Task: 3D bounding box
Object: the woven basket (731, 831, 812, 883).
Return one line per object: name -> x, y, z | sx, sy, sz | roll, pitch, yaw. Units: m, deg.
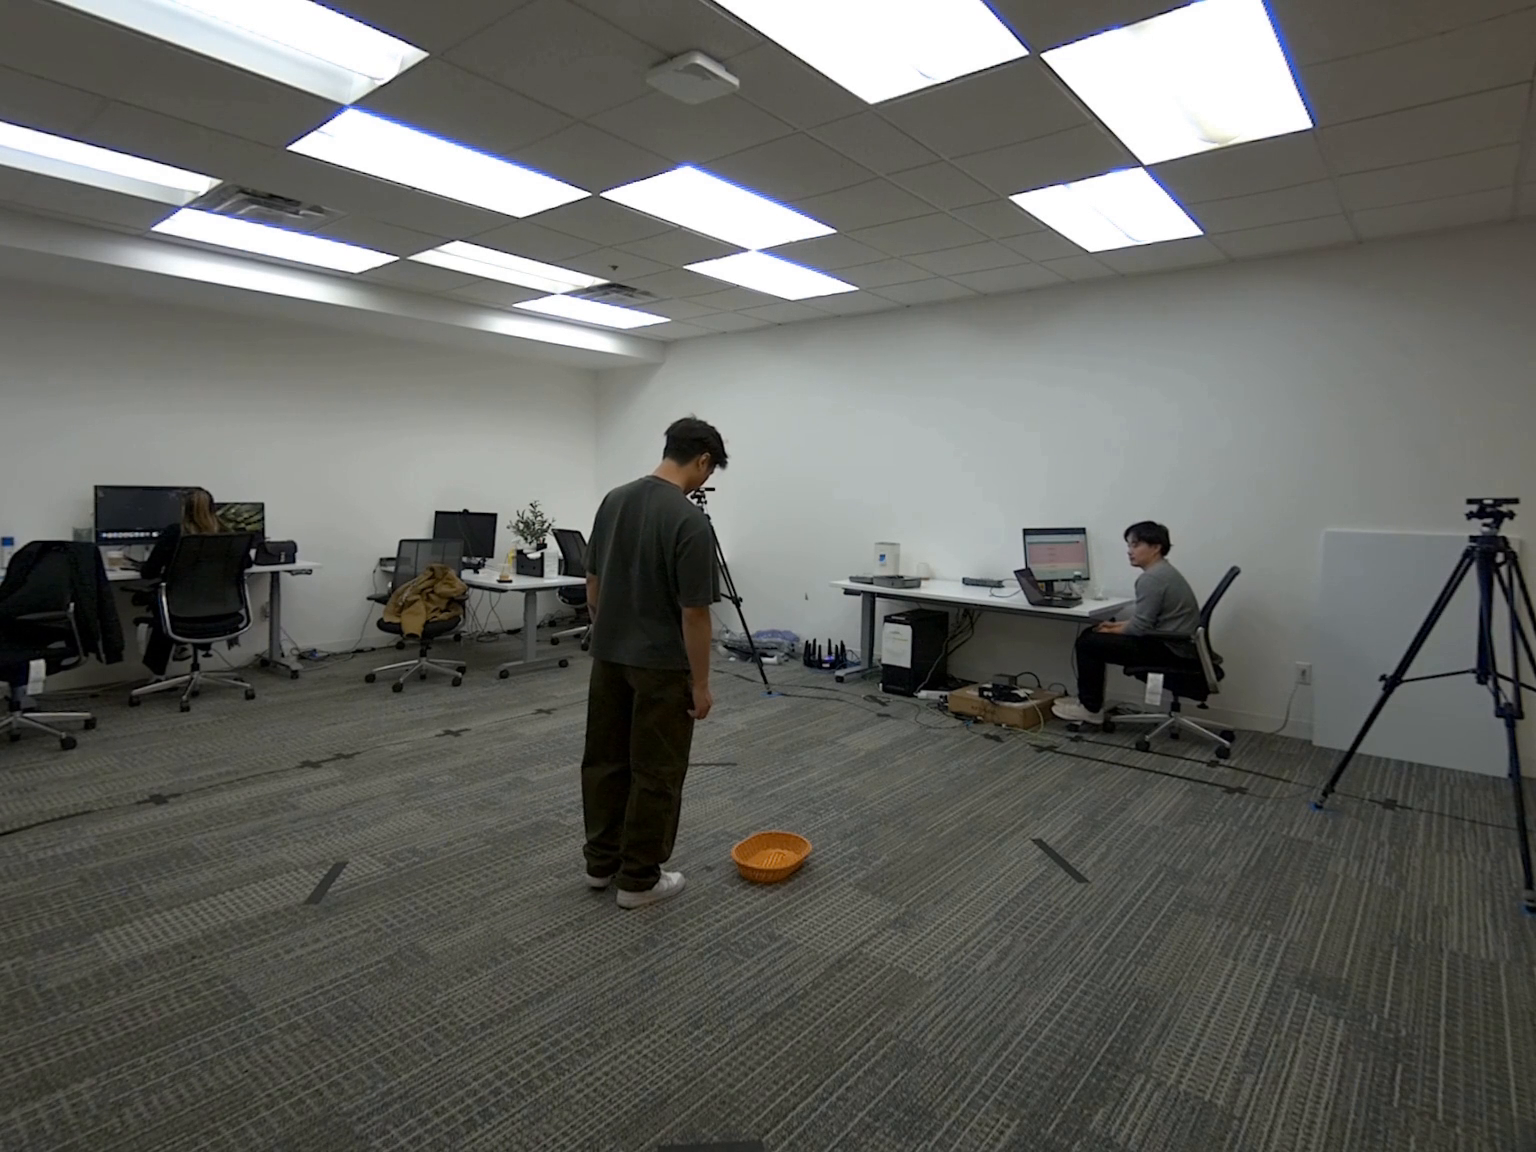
woven basket -> 0.004, 1.029, 3.127 | 0.261, 0.073, 0.340 | 5, 7, 35
